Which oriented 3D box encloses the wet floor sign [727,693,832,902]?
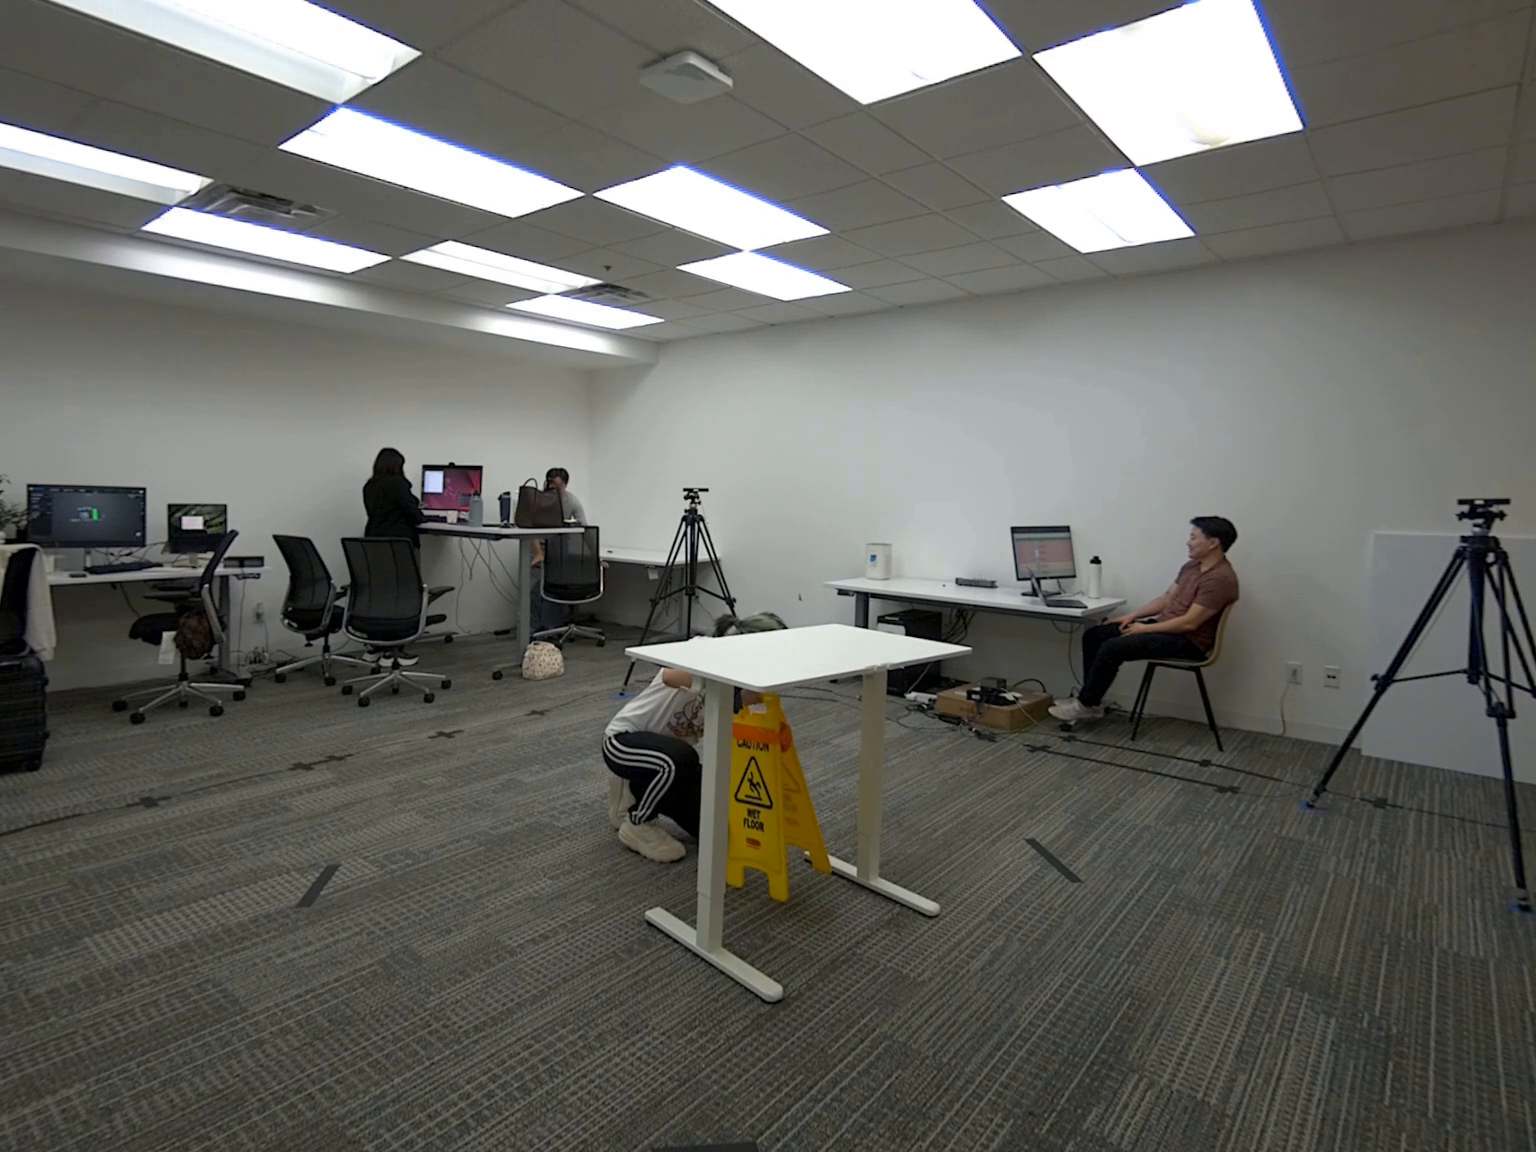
[{"bbox_3d":[-0.012,0.704,2.886,0.290,0.645,0.282,-7,2,45],"label":"wet floor sign"}]
